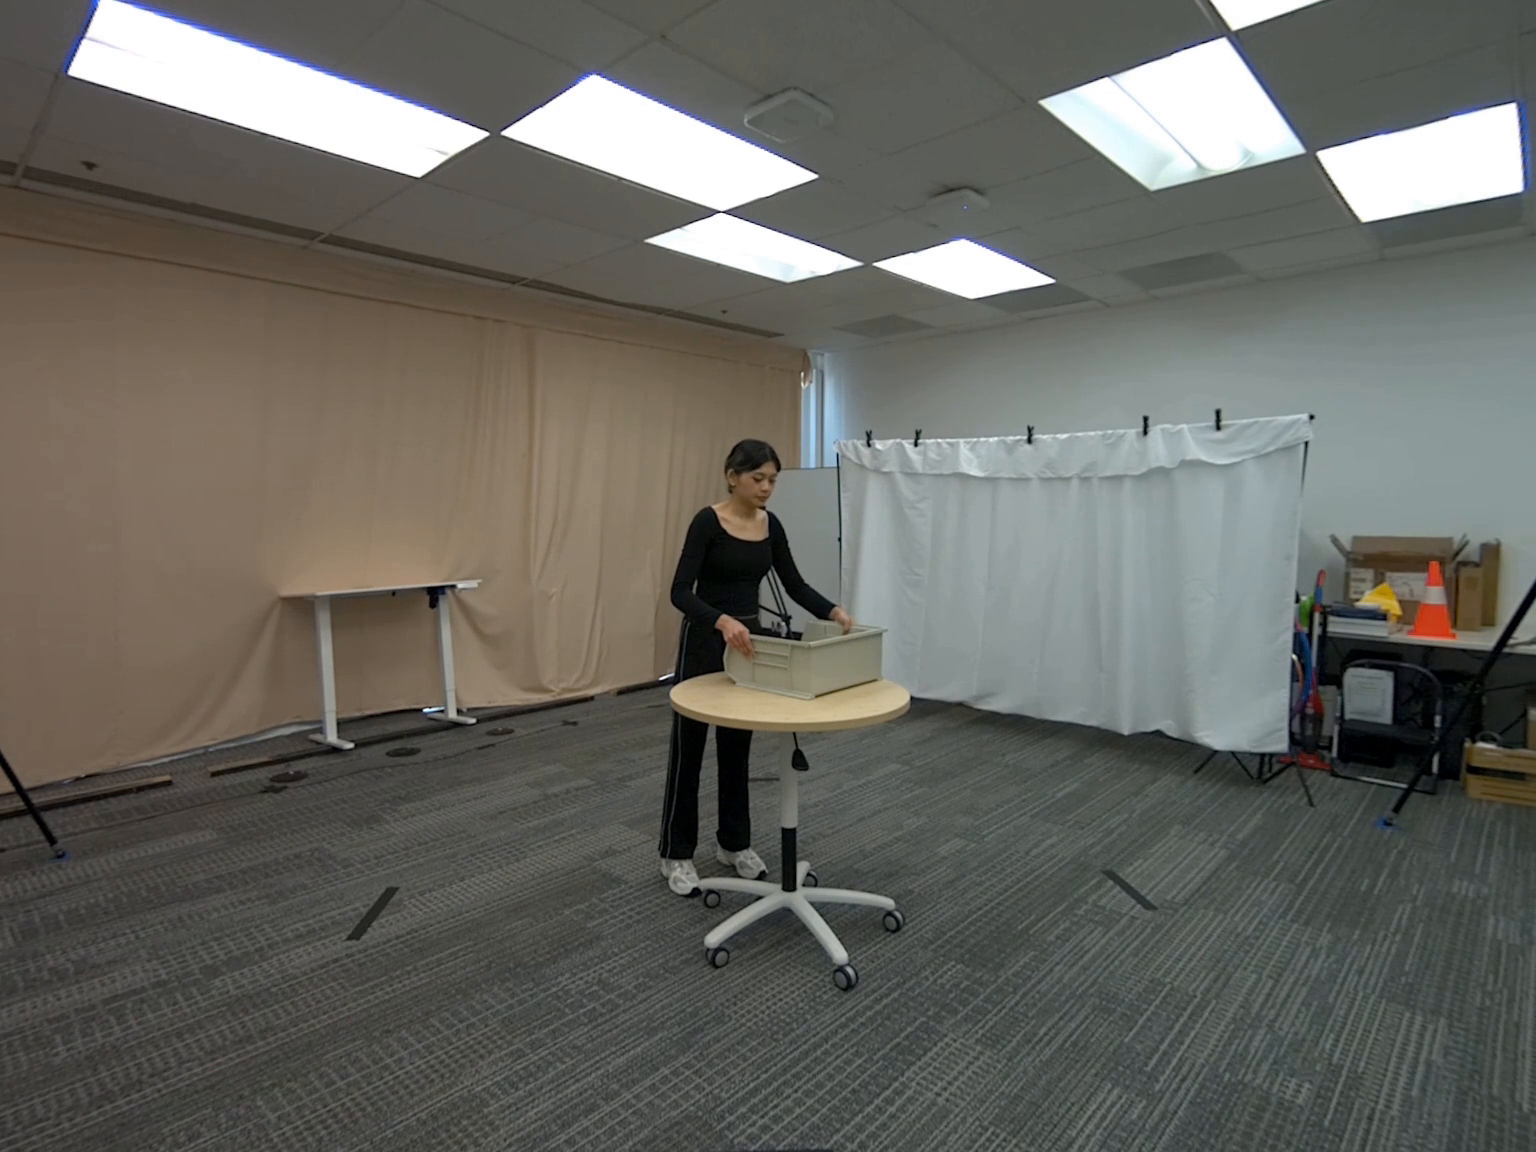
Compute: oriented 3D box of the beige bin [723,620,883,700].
[{"bbox_3d":[0.128,0.270,2.855,0.390,0.188,0.409,8,8,43],"label":"beige bin"}]
